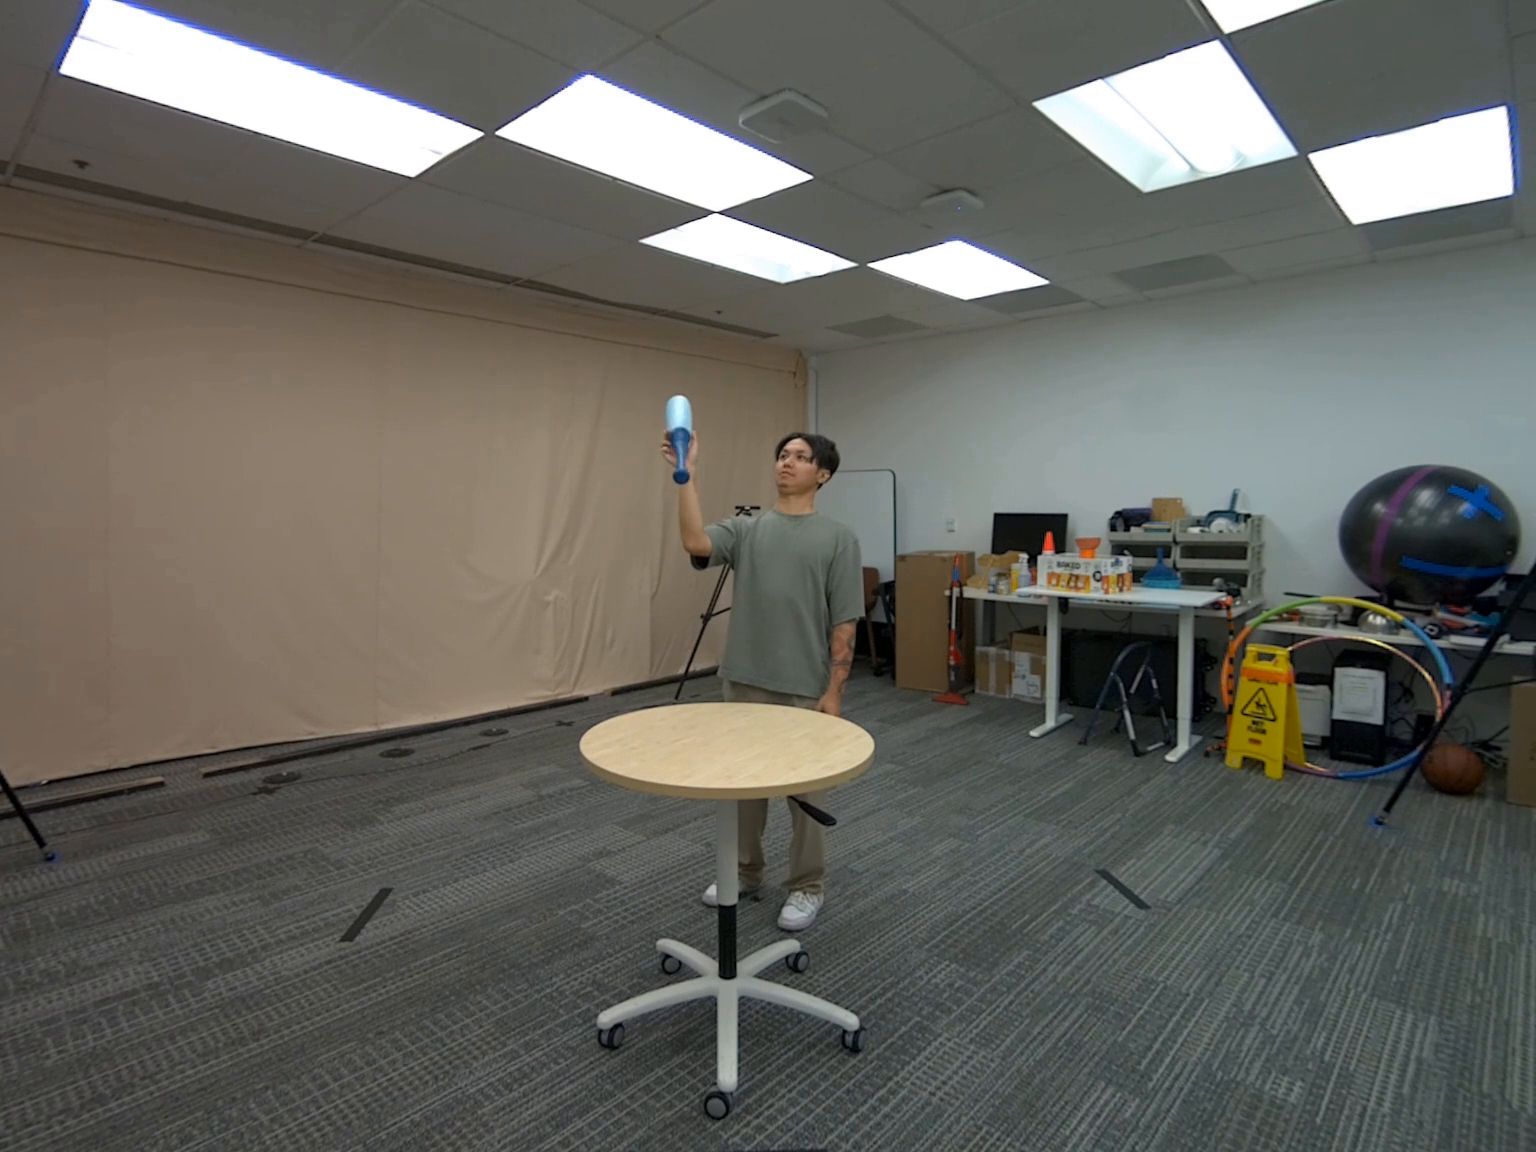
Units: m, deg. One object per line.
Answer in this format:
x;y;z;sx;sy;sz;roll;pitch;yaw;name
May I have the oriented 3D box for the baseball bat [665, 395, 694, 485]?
-0.266;-0.436;2.679;0.088;0.088;0.555;-1;35;-8;baseball bat
